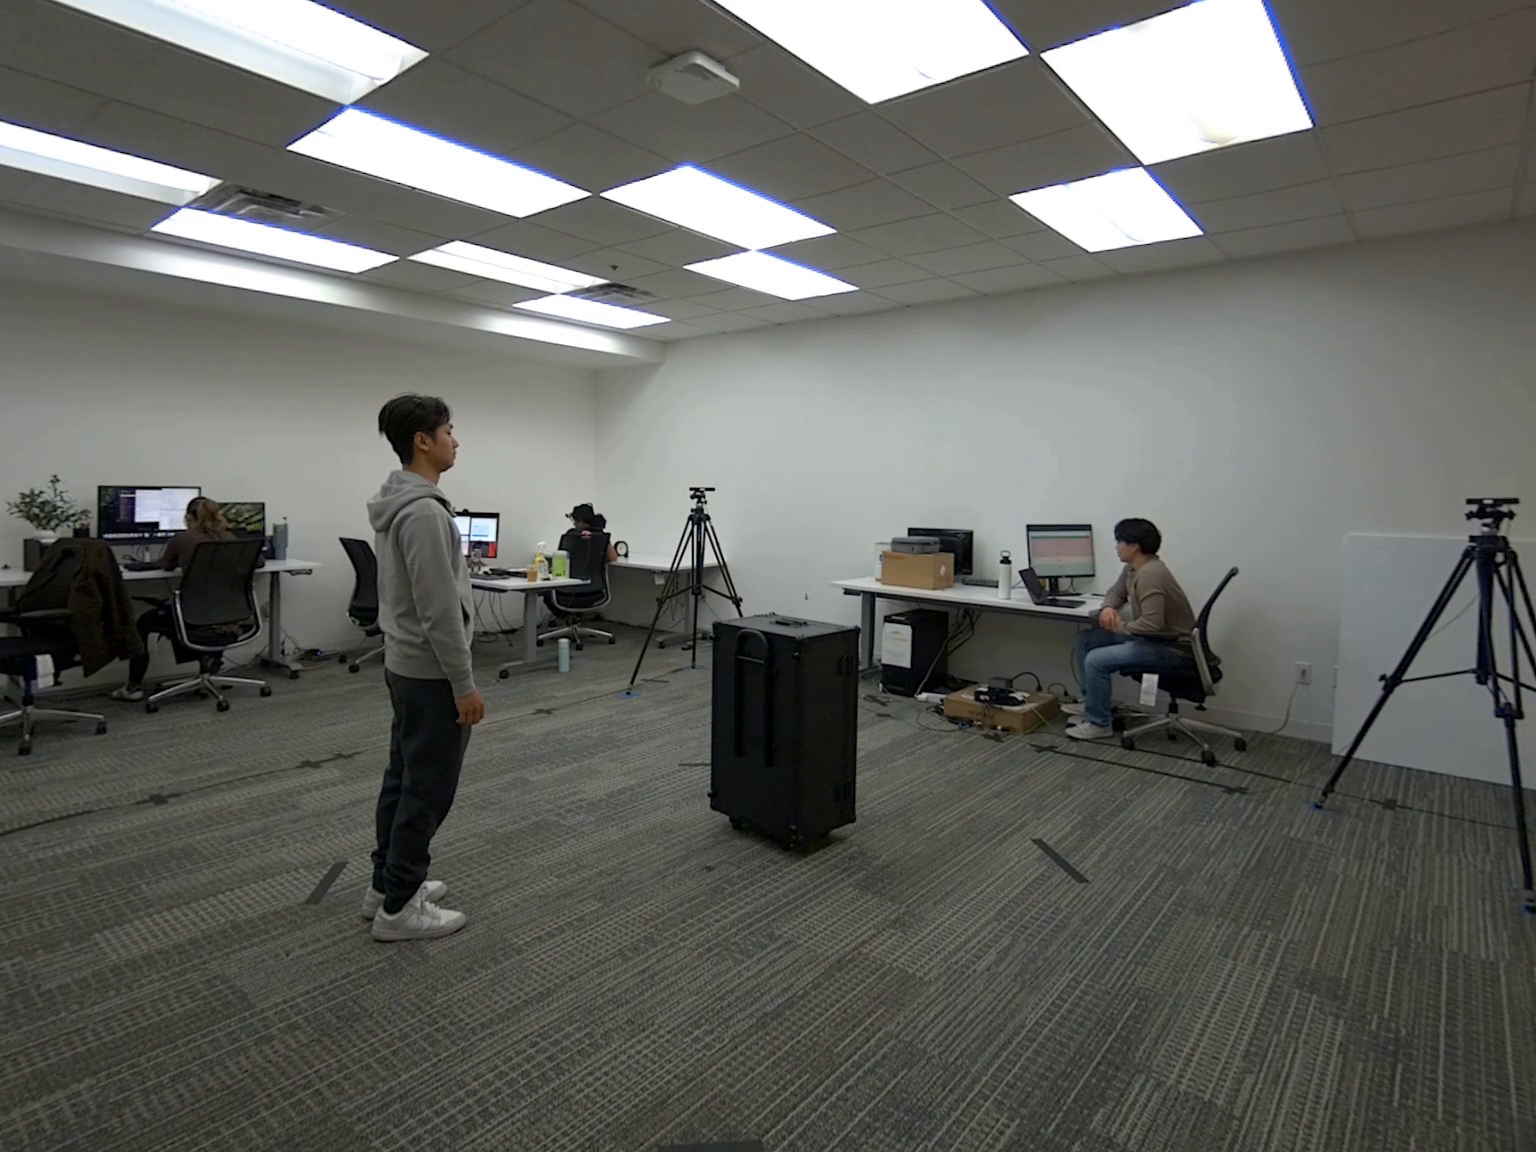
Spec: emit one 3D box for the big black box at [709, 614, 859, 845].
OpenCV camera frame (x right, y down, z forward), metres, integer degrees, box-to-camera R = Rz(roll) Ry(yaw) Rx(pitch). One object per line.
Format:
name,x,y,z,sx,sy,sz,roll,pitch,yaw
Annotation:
big black box,0.050,0.617,3.426,0.539,0.858,0.384,5,6,45
